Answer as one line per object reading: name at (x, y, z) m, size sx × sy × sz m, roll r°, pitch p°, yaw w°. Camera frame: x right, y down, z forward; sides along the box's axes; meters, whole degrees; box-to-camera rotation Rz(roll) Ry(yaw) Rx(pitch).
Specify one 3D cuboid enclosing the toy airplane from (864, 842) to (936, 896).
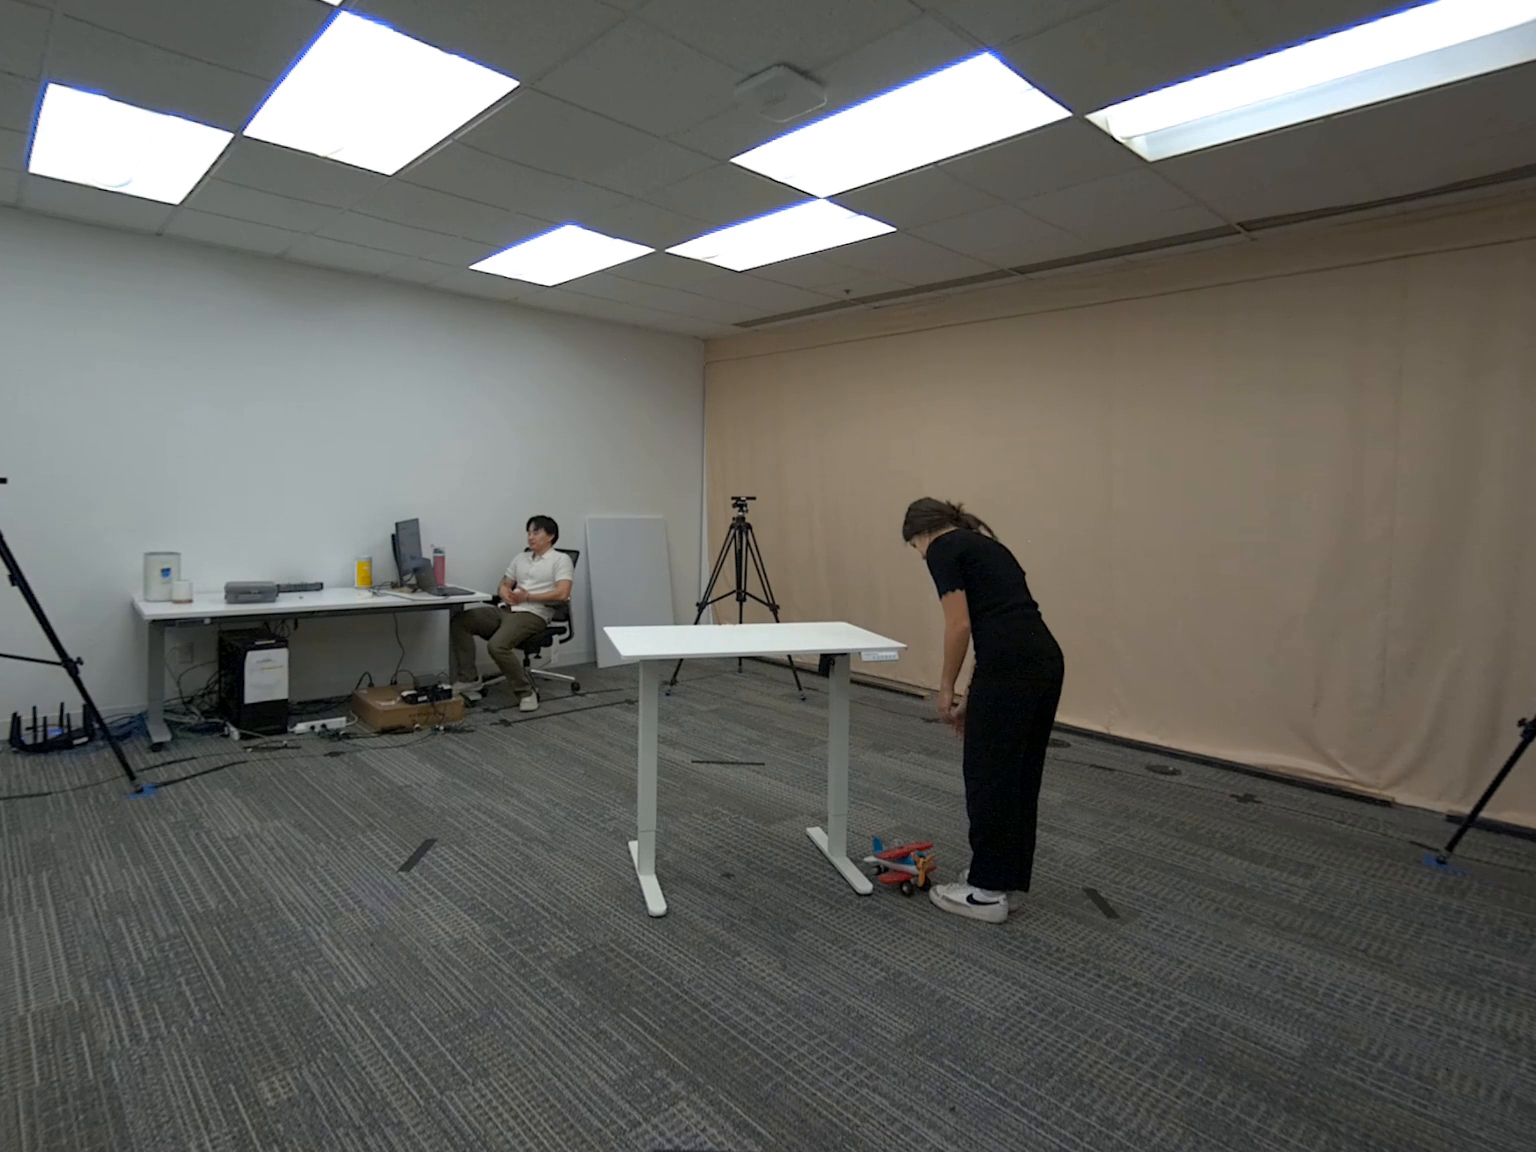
toy airplane at (0.443, 1.042, 3.064) m, size 0.264 × 0.156 × 0.247 m, roll 6°, pitch 7°, yaw 25°
